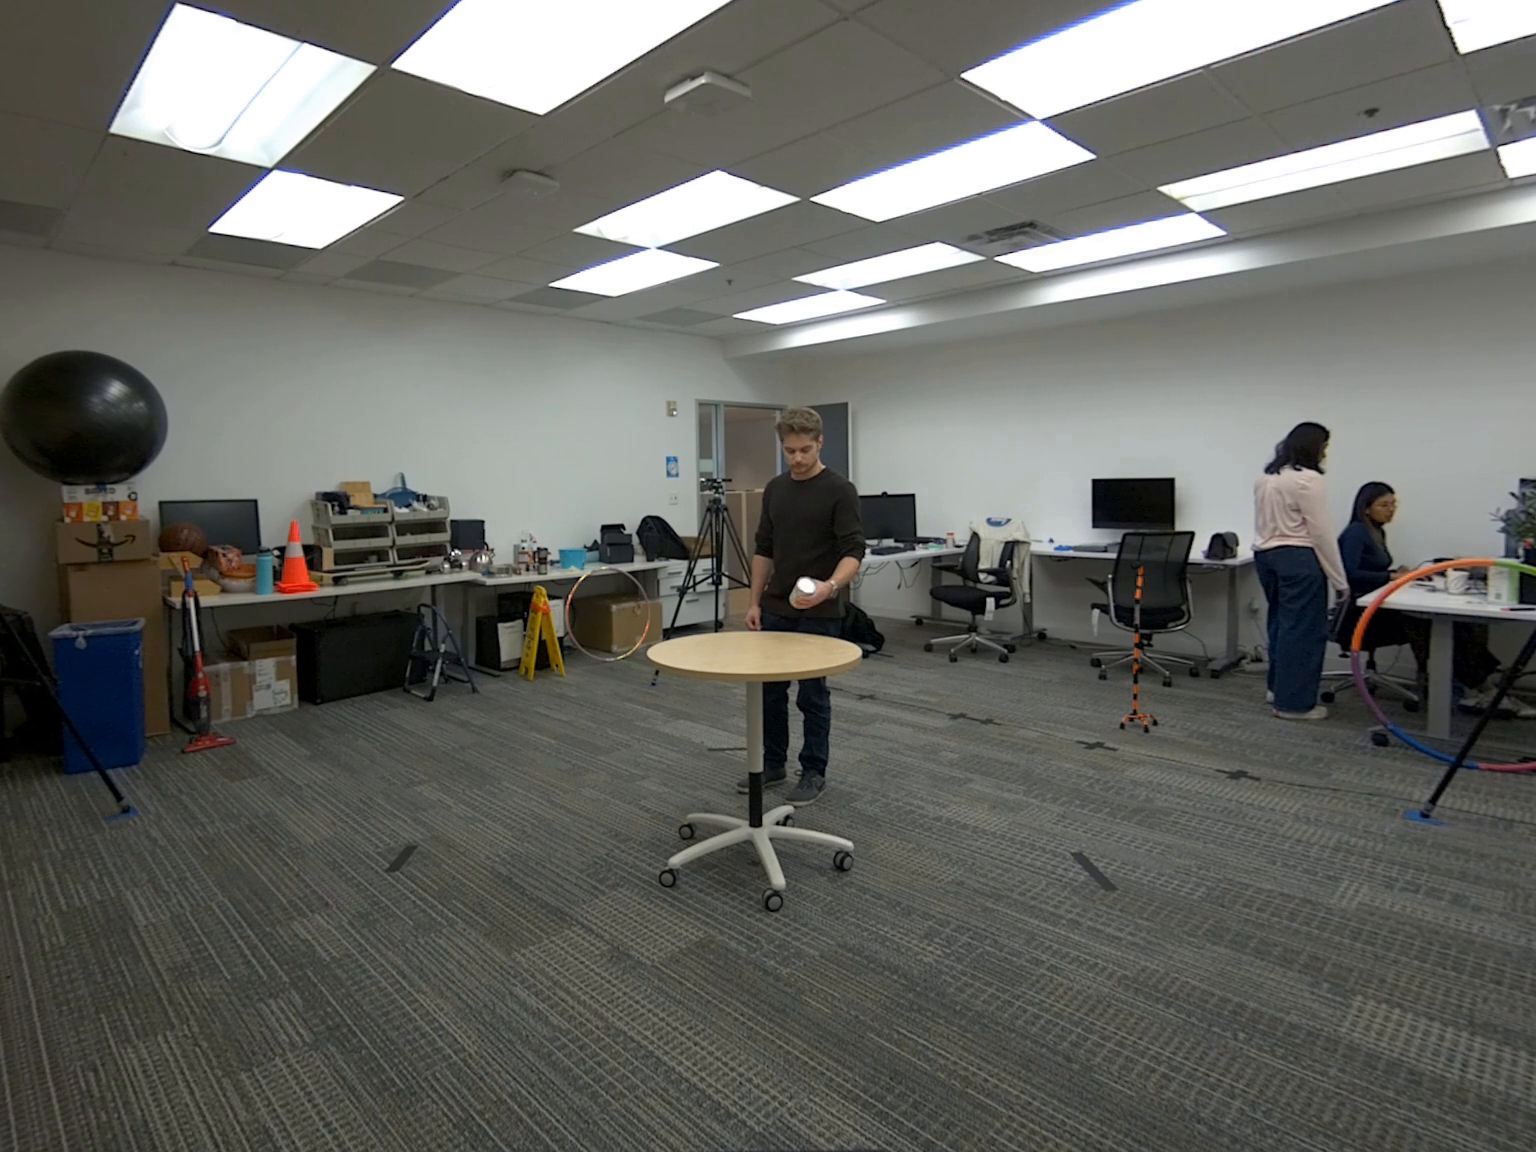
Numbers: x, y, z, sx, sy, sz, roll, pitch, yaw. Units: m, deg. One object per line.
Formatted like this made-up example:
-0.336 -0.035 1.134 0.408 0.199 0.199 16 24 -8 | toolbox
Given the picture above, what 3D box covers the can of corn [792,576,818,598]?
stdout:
0.130 0.061 3.278 0.074 0.076 0.108 -1 -25 1 | can of corn
